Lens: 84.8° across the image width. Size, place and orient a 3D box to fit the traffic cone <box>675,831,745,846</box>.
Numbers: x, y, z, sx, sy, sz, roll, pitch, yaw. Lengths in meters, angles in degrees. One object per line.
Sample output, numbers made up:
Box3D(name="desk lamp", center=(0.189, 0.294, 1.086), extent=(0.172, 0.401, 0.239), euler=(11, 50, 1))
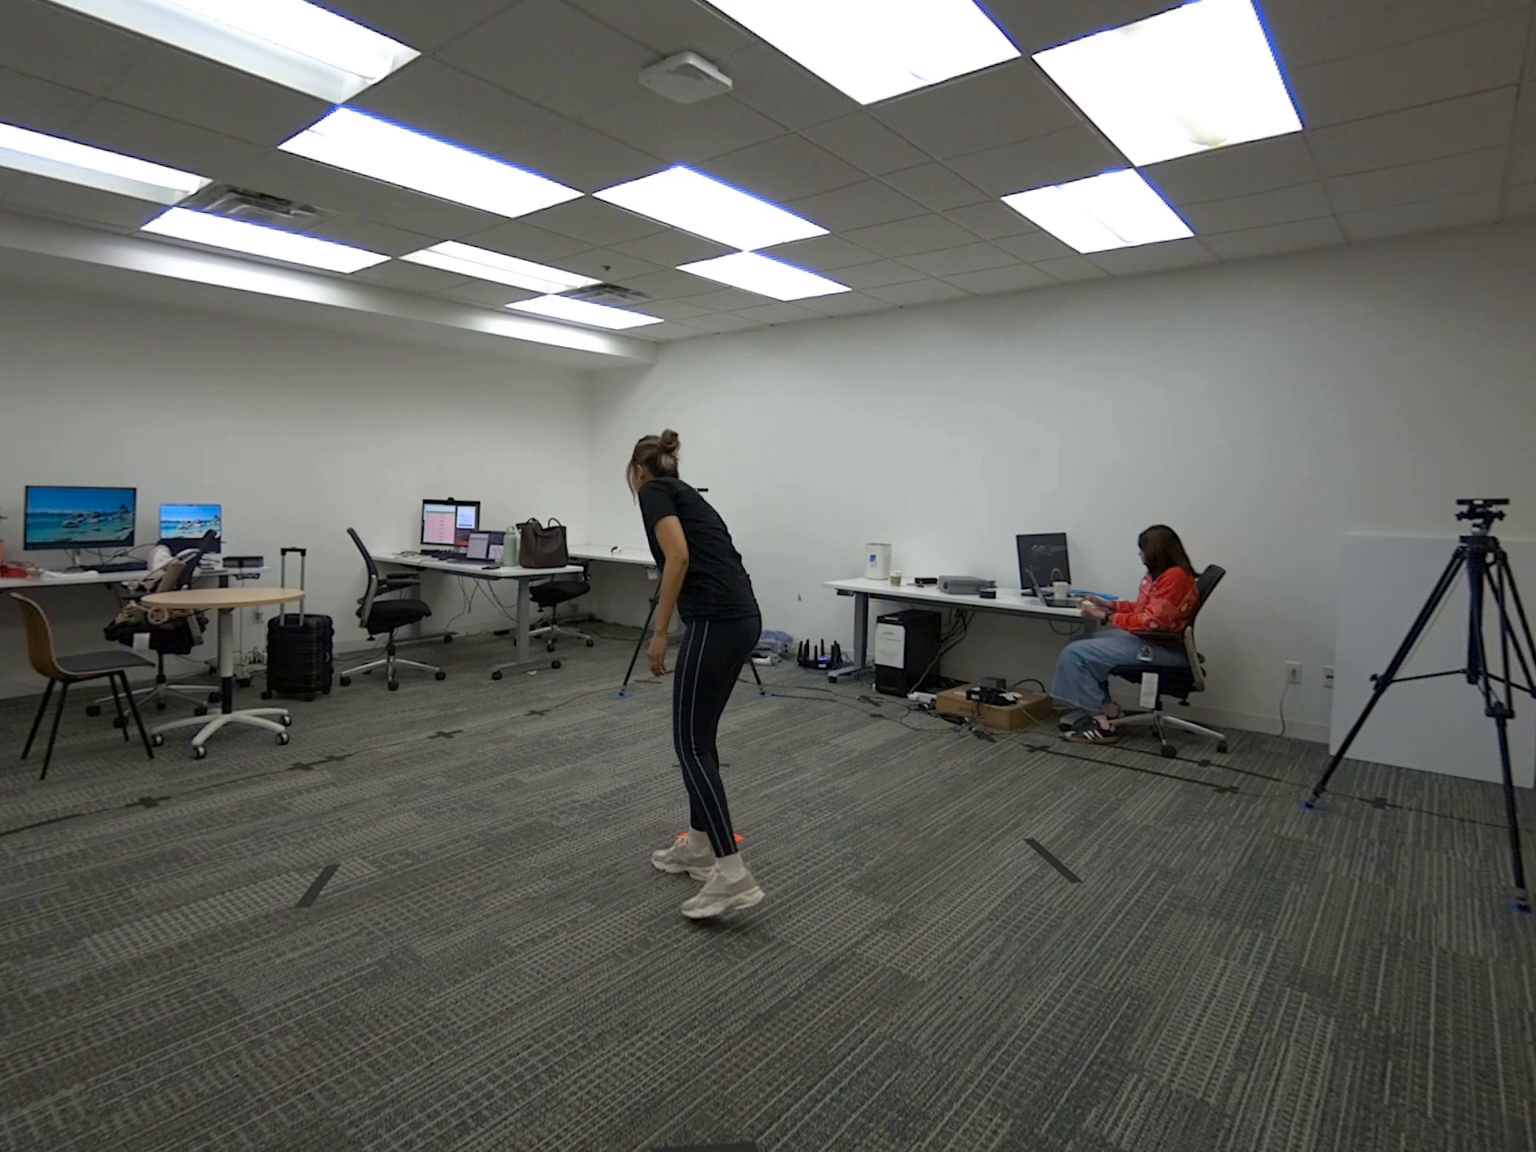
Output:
Box3D(name="traffic cone", center=(-0.238, 0.855, 3.385), extent=(0.197, 0.383, 0.212), euler=(-1, 3, -38))
